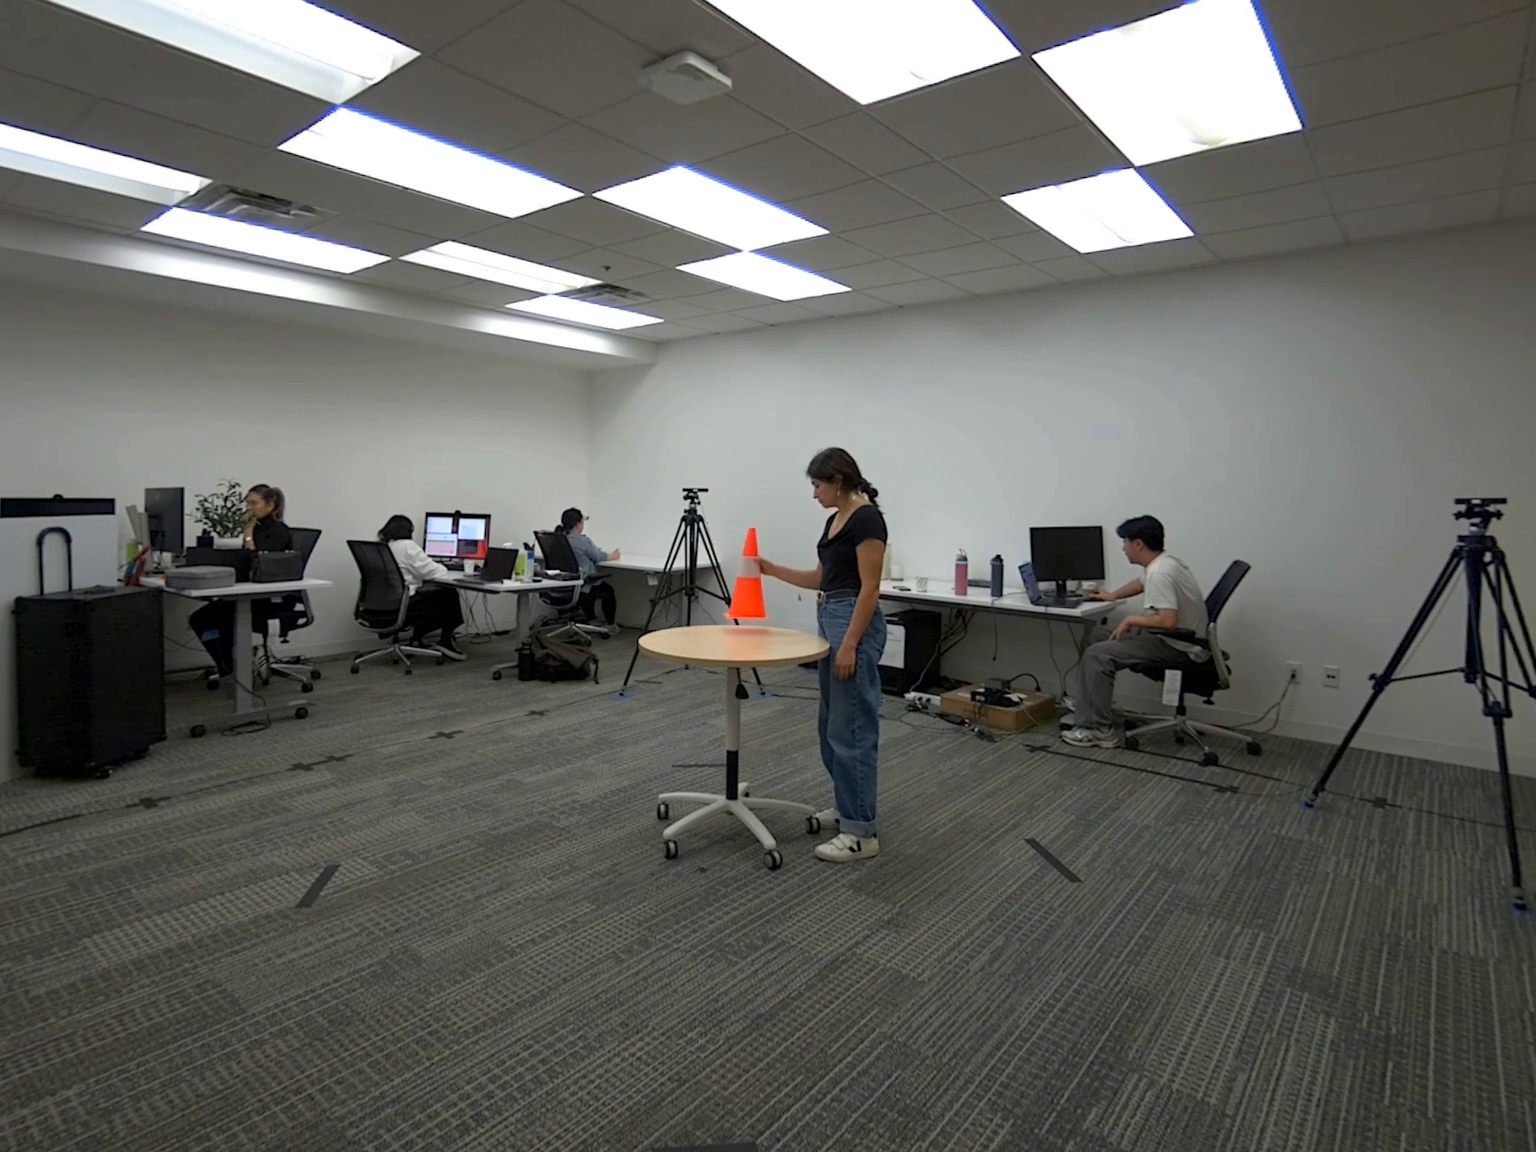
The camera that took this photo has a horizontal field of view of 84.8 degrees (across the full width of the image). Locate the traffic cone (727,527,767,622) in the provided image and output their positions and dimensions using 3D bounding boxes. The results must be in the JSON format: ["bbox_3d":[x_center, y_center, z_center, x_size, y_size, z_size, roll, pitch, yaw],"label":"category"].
[{"bbox_3d":[-0.078,-0.027,3.652,0.203,0.382,0.206,1,3,-10],"label":"traffic cone"}]
